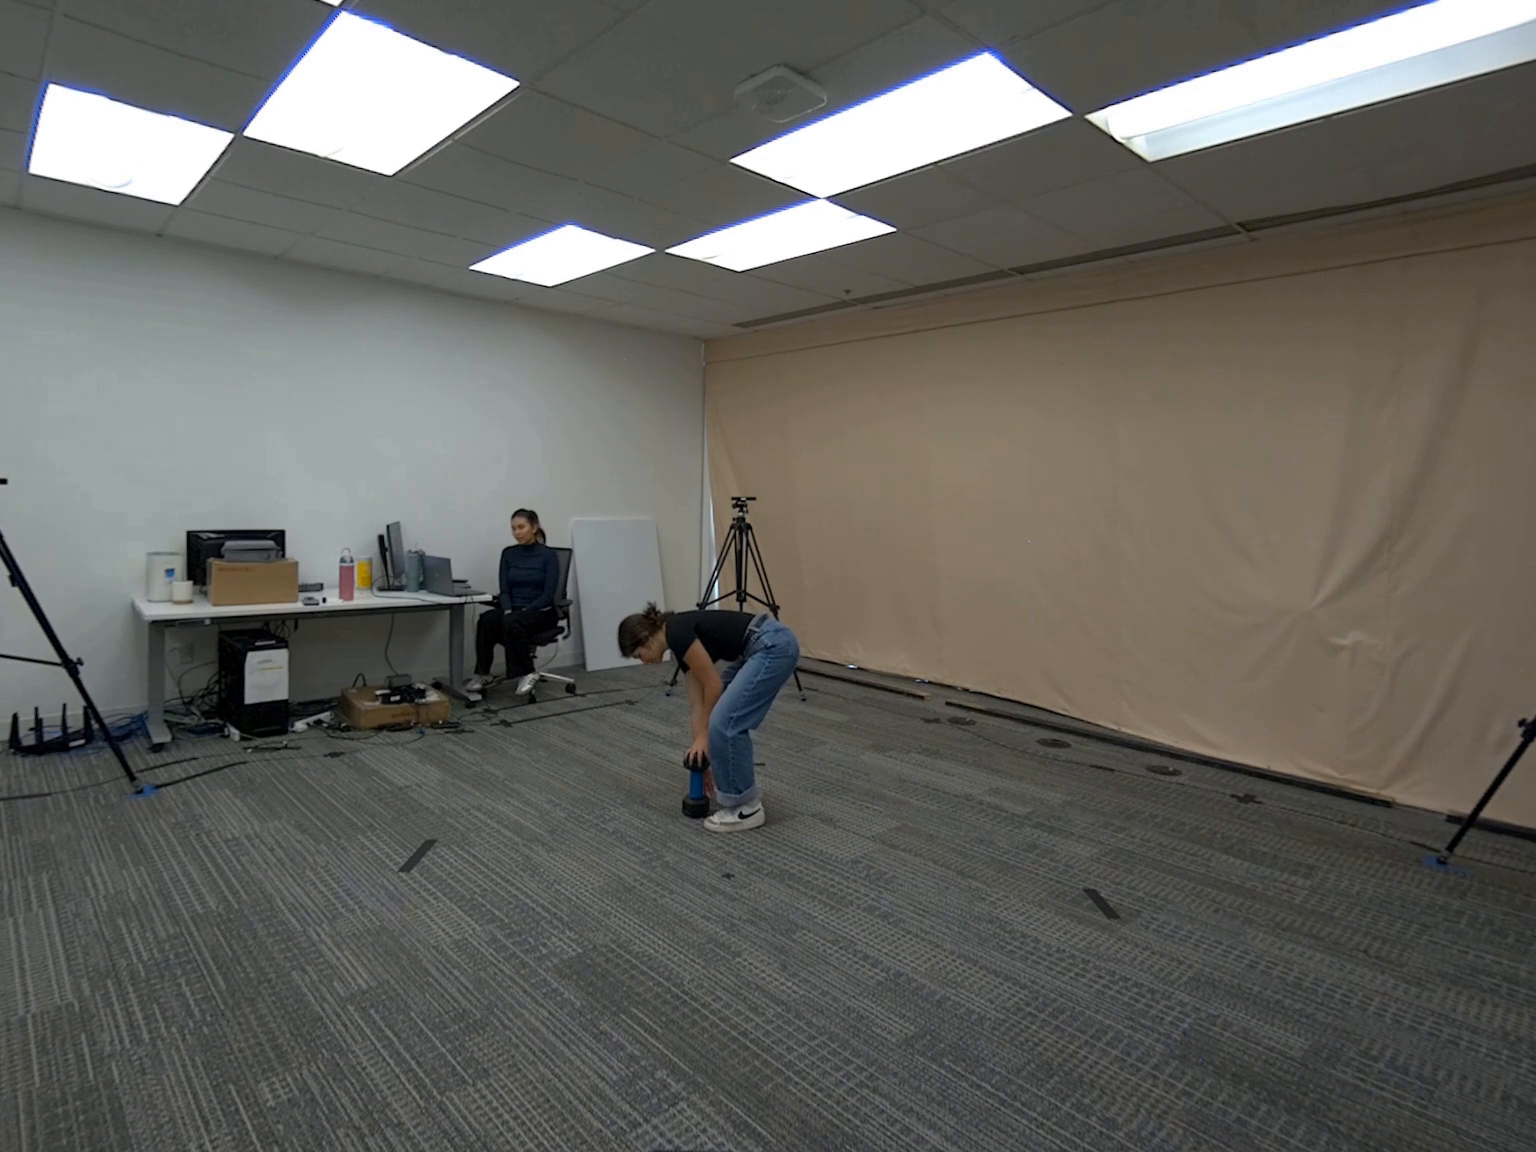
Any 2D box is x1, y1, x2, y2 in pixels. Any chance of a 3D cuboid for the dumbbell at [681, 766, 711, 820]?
[{"bbox_3d":[-0.327,0.910,3.690,0.122,0.292,0.110,1,7,-13],"label":"dumbbell"}]
